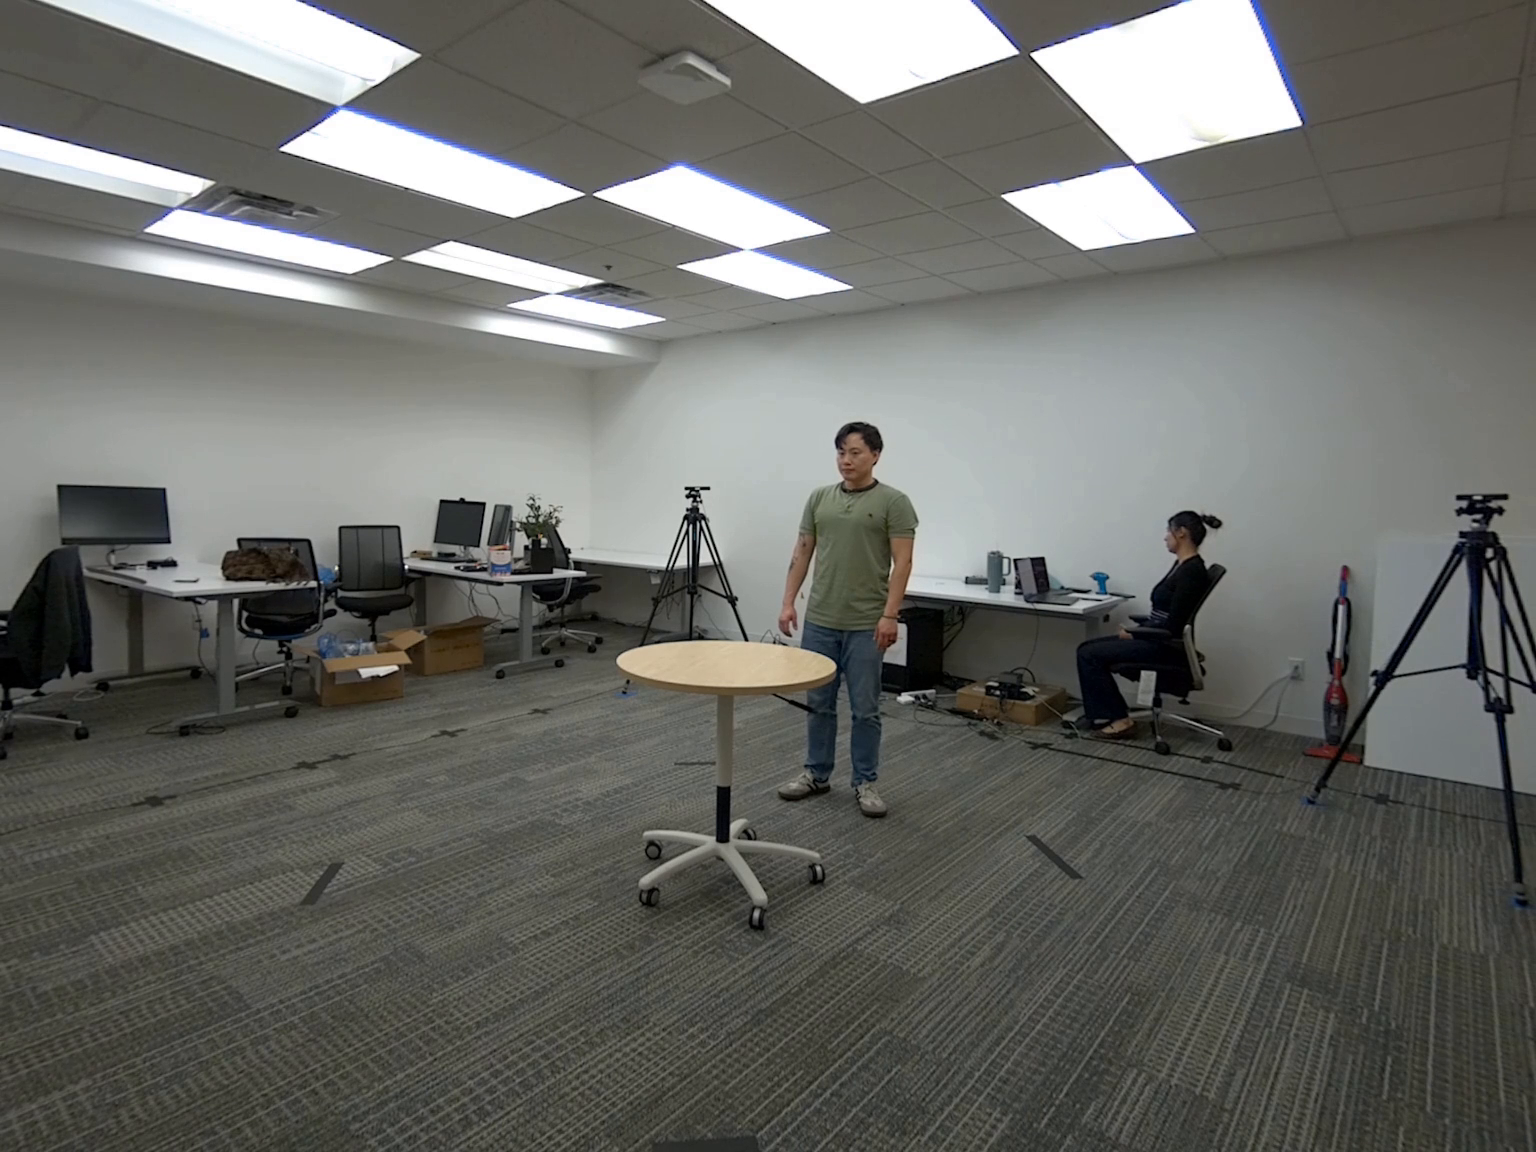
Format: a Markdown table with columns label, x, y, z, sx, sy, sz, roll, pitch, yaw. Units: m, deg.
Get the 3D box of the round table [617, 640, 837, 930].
| label | x | y | z | sx | sy | sz | roll | pitch | yaw |
| --- | --- | --- | --- | --- | --- | --- | --- | --- | --- |
| round table | -0.170 | 0.689 | 2.998 | 0.763 | 0.791 | 0.768 | 1 | 4 | -2 |
